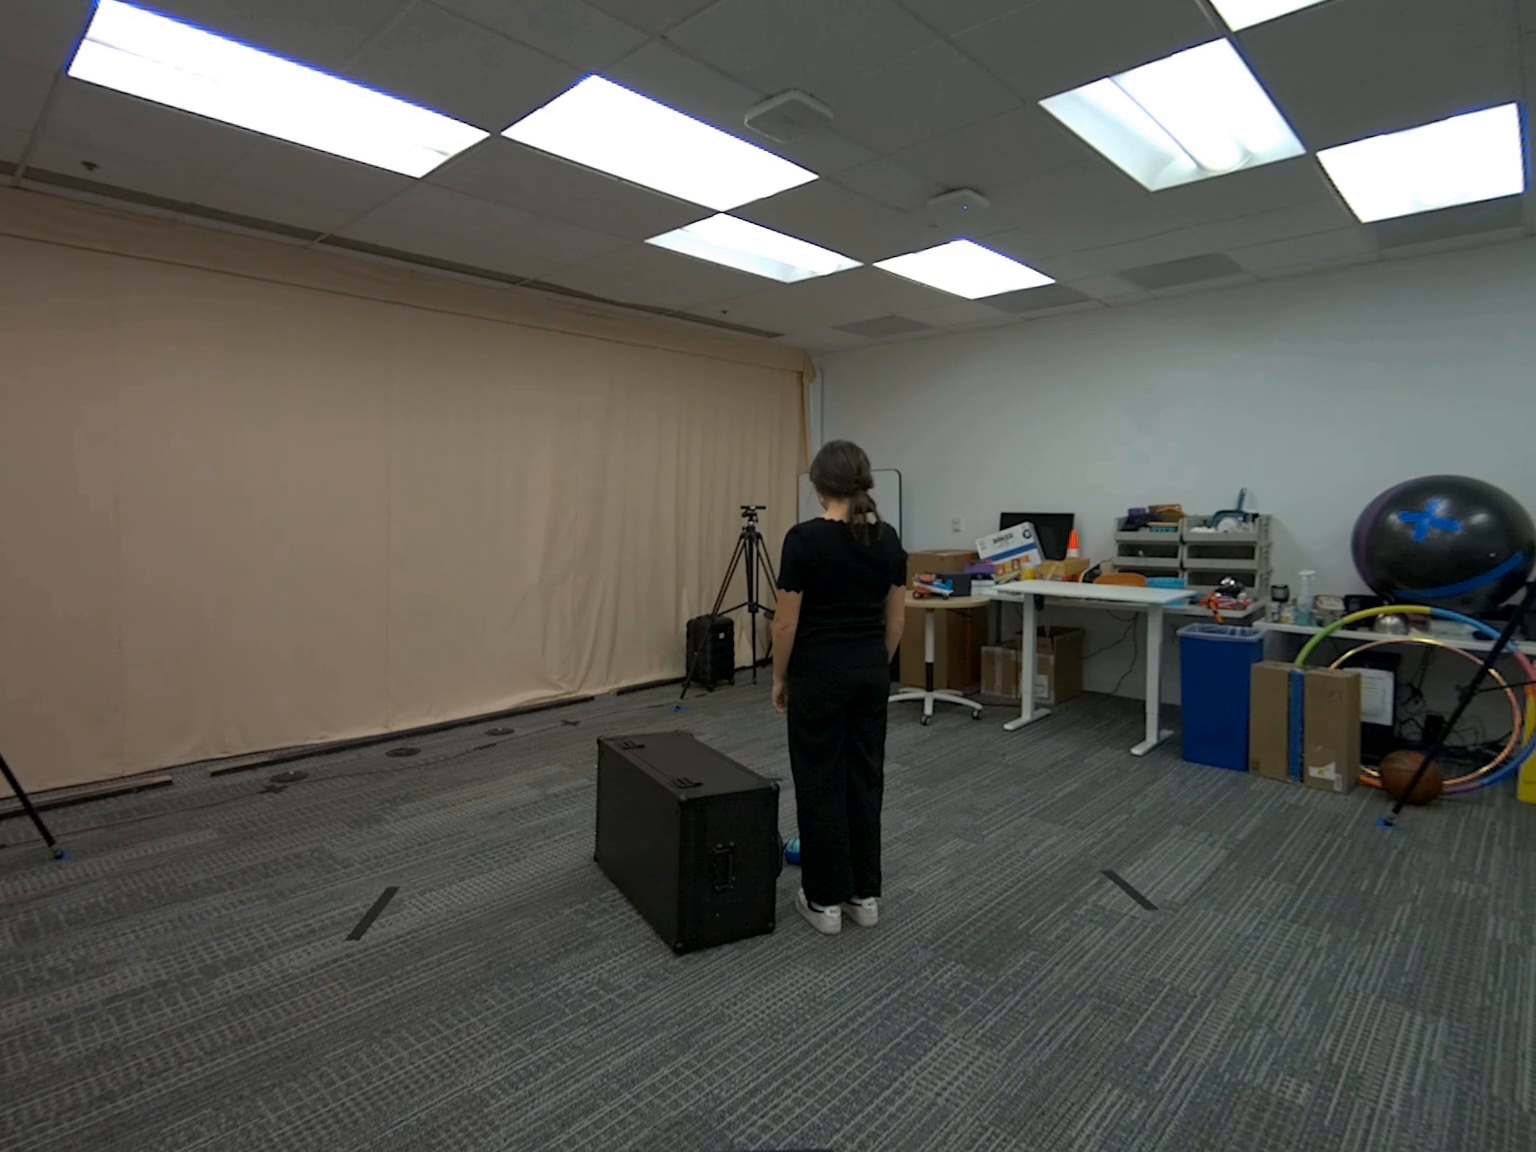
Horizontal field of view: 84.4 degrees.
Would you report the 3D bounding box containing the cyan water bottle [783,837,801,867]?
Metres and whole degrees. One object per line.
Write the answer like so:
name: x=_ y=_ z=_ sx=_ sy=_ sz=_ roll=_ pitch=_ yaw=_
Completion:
cyan water bottle: x=0.195 y=1.072 z=3.229 sx=0.291 sy=0.092 sz=0.090 roll=3 pitch=5 yaw=28
